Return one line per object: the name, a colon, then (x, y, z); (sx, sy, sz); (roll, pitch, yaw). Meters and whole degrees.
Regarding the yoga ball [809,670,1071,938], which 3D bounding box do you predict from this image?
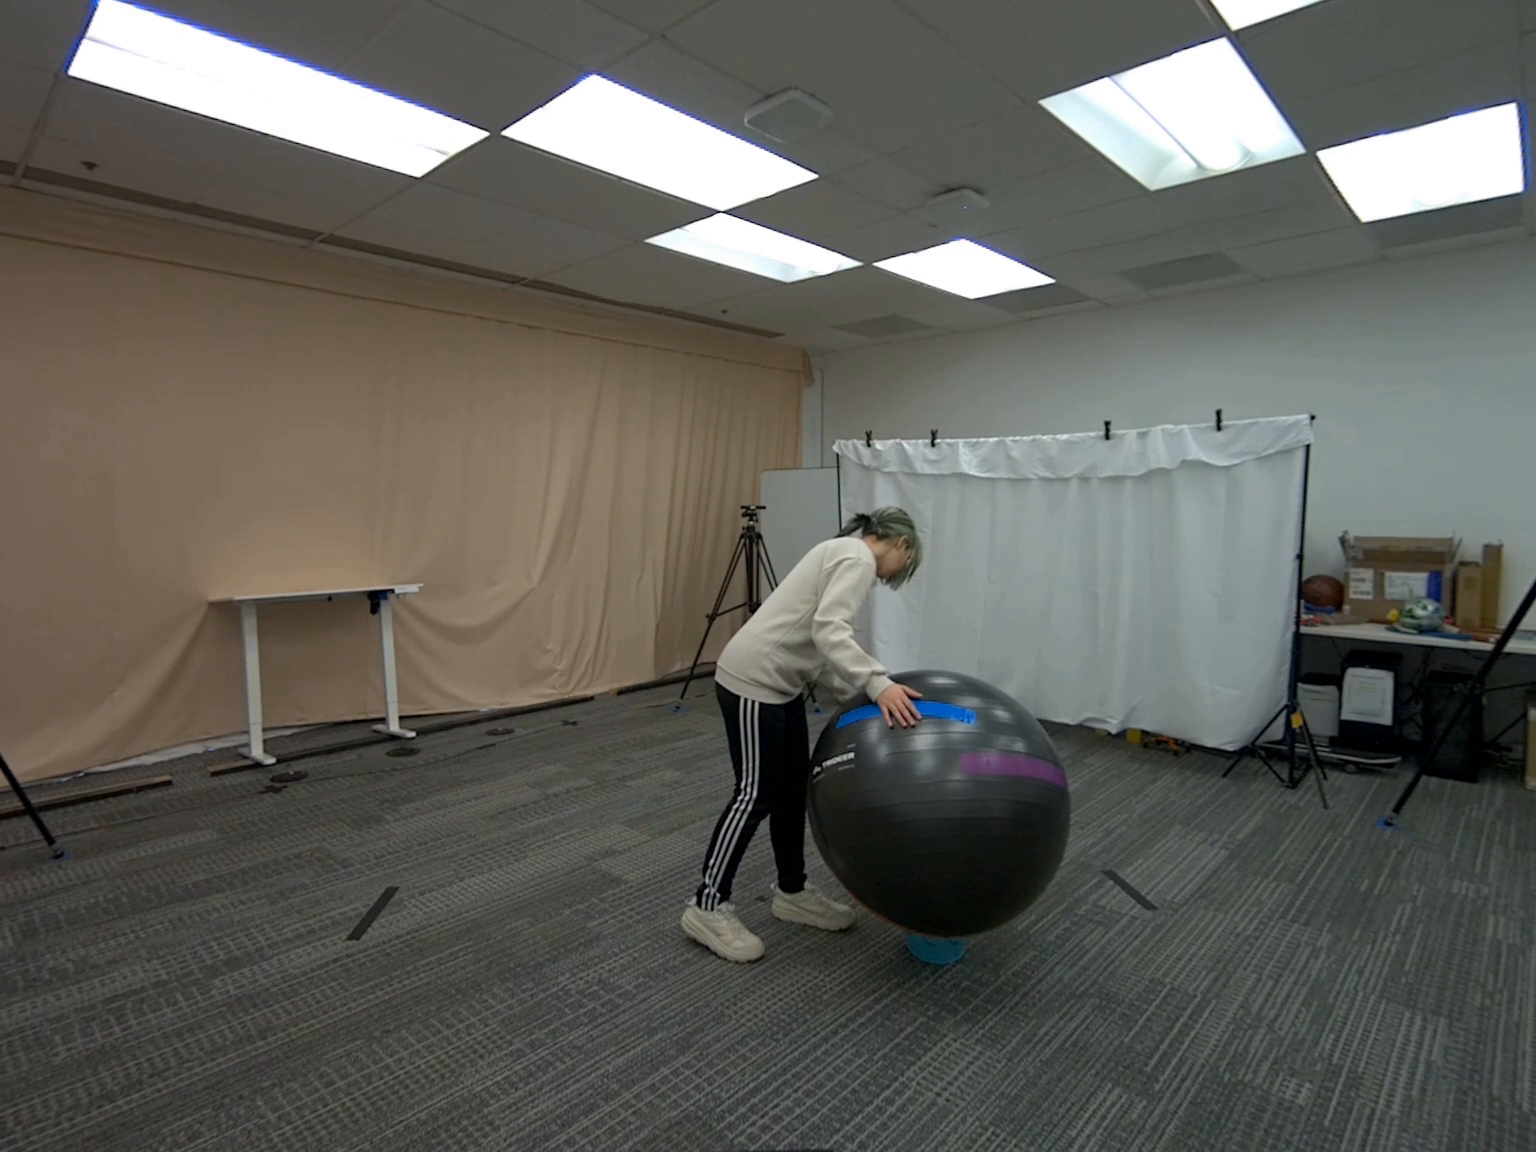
yoga ball: (0.505, 0.666, 2.517); (0.757, 0.756, 0.760); (0, 4, -2)
